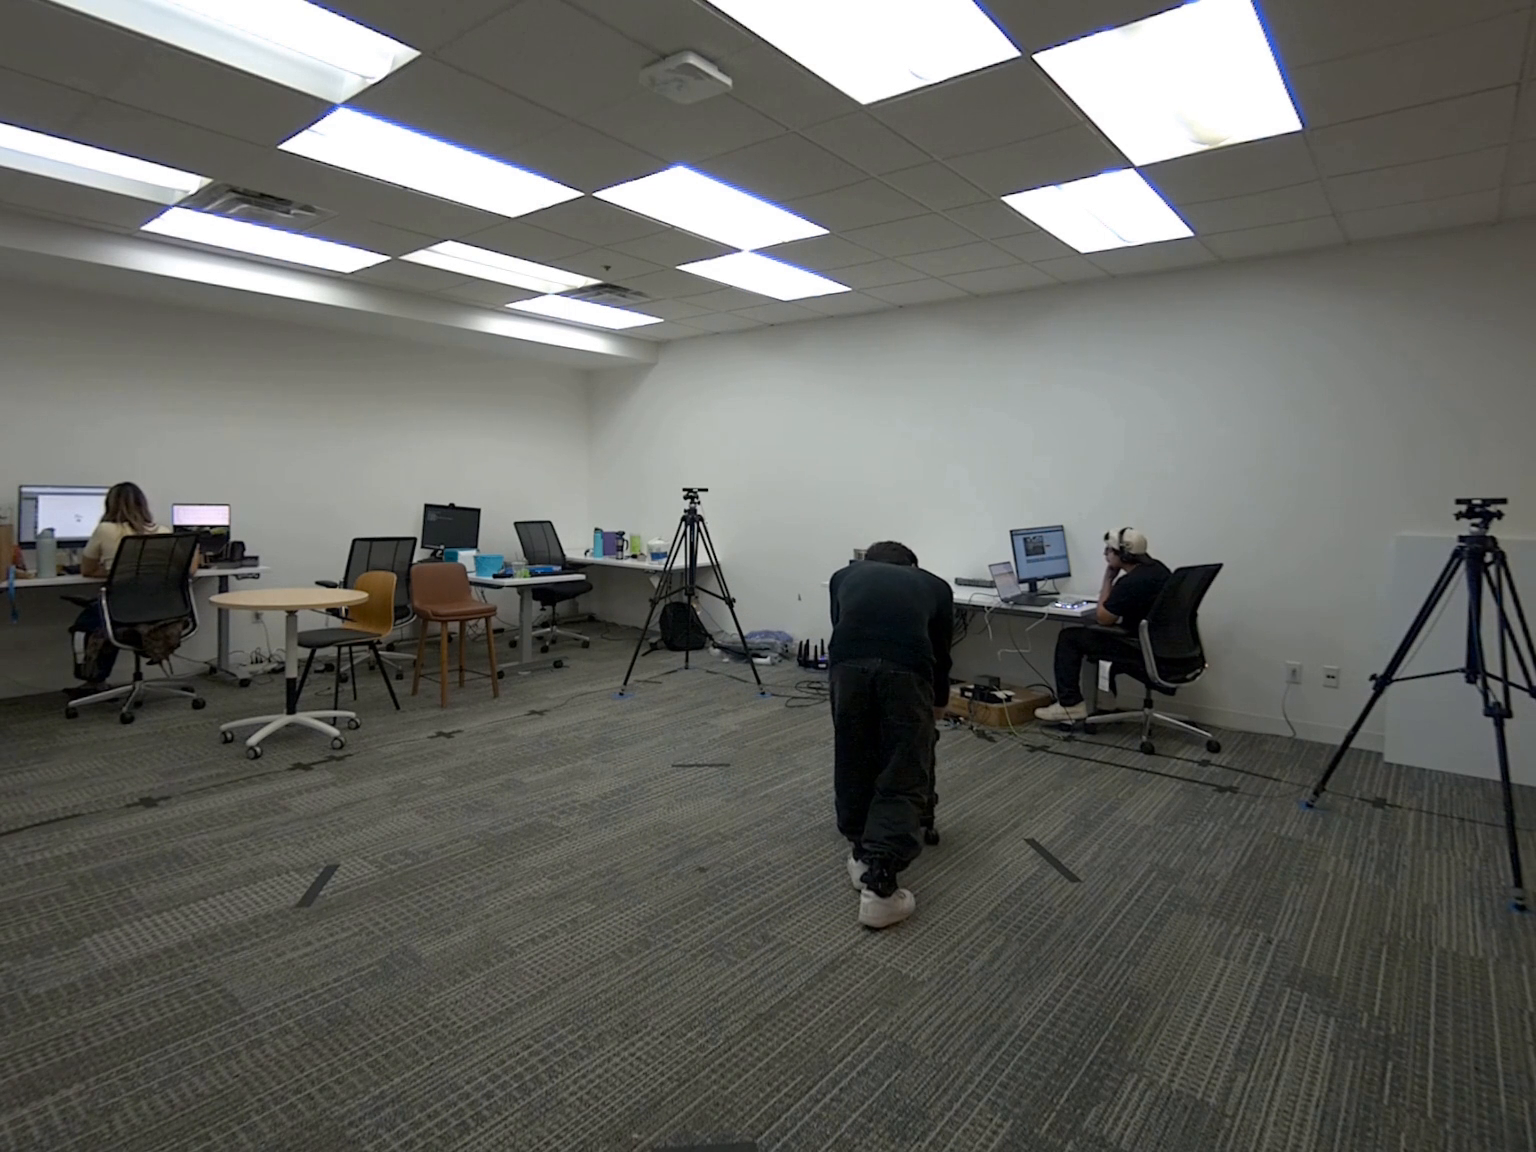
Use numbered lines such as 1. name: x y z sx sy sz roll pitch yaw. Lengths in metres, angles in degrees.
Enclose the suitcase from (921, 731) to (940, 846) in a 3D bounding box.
1. suitcase: 0.482 0.768 3.480 0.372 0.548 0.251 0 2 -9
